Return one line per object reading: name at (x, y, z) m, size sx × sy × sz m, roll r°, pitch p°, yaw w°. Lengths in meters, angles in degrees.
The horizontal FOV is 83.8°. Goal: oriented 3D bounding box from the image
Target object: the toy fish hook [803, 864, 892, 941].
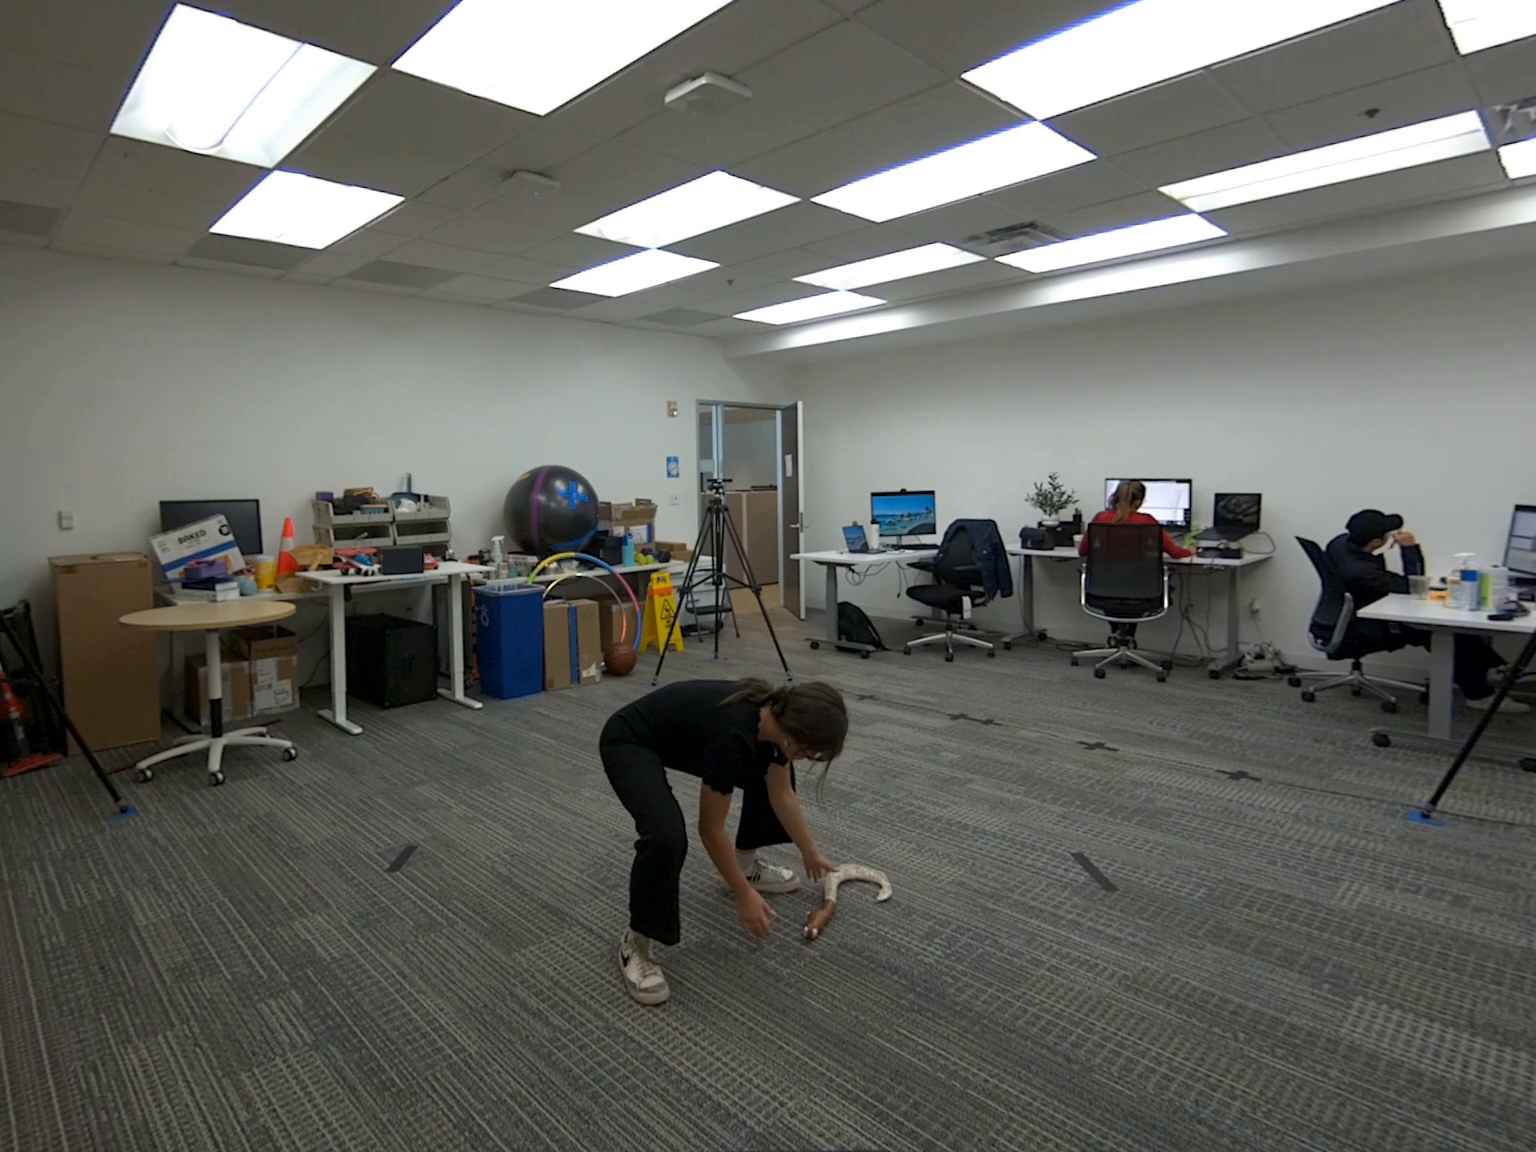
toy fish hook at (0.263, 1.055, 2.769) m, size 0.229 × 0.048 × 0.498 m, roll 0°, pitch 7°, yaw 22°
